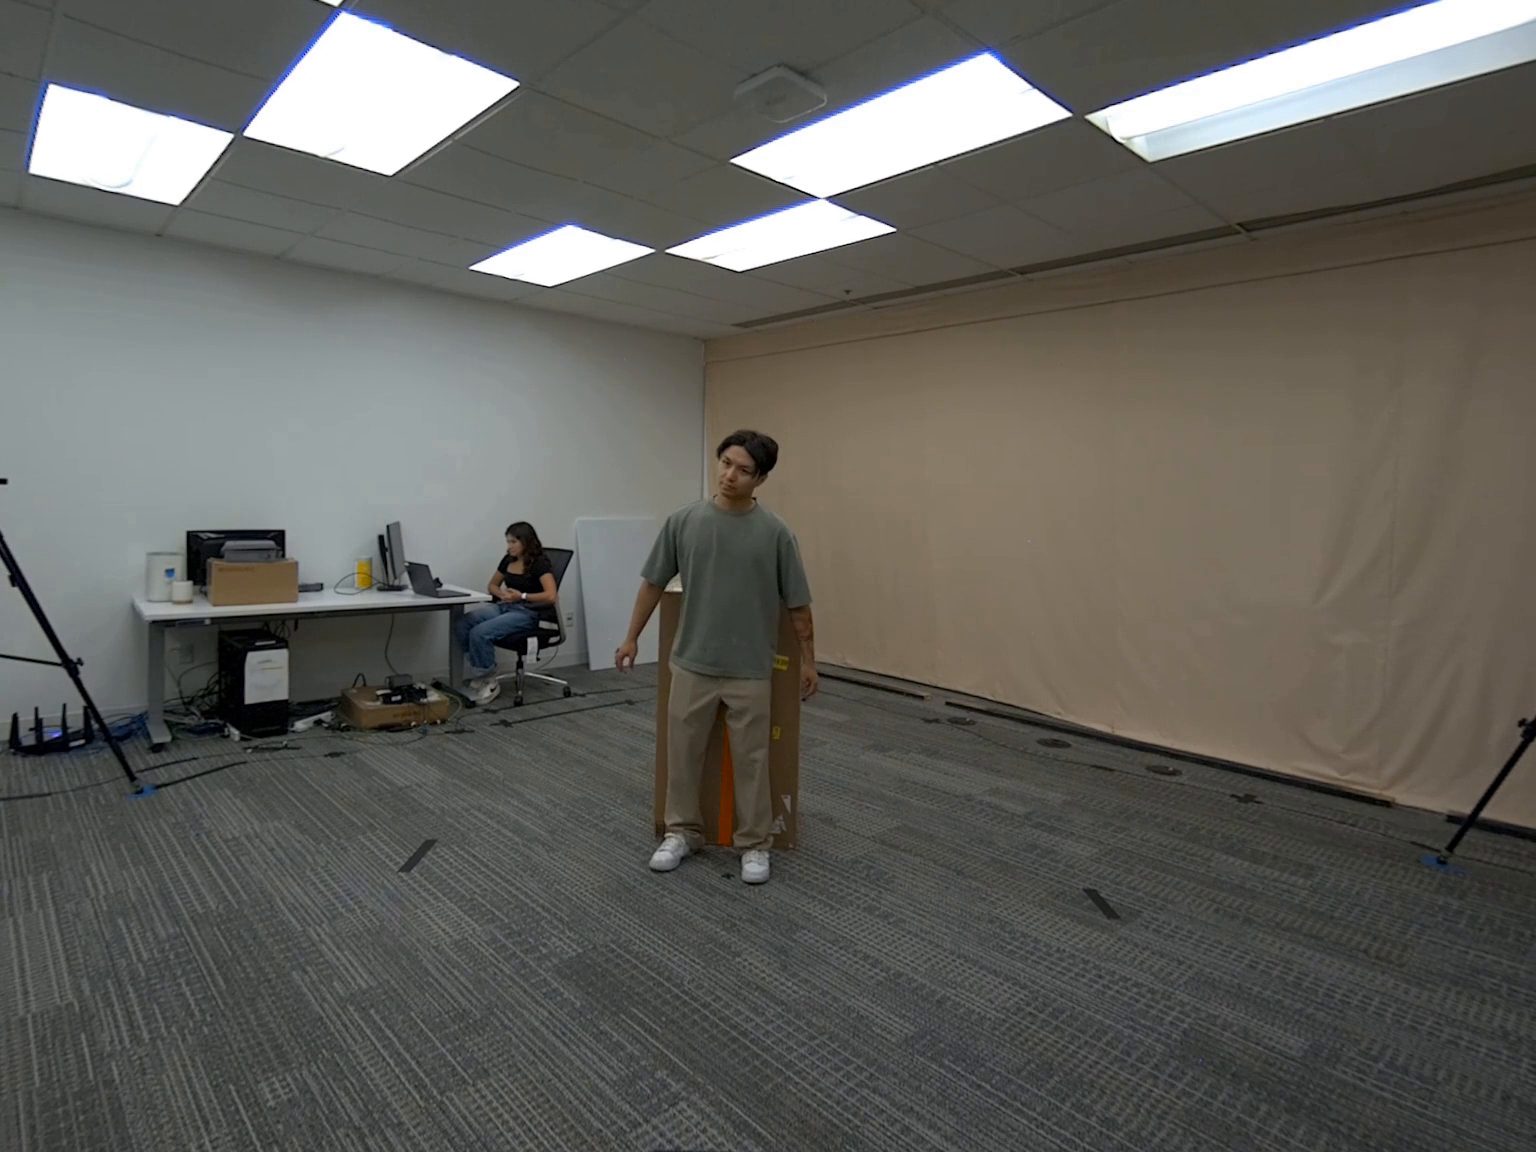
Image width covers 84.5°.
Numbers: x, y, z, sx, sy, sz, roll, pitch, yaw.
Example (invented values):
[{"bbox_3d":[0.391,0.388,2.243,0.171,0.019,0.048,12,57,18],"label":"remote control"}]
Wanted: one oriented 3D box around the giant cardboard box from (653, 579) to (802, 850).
[{"bbox_3d":[-0.159,0.560,3.567,0.580,1.023,0.425,2,3,4],"label":"giant cardboard box"}]
